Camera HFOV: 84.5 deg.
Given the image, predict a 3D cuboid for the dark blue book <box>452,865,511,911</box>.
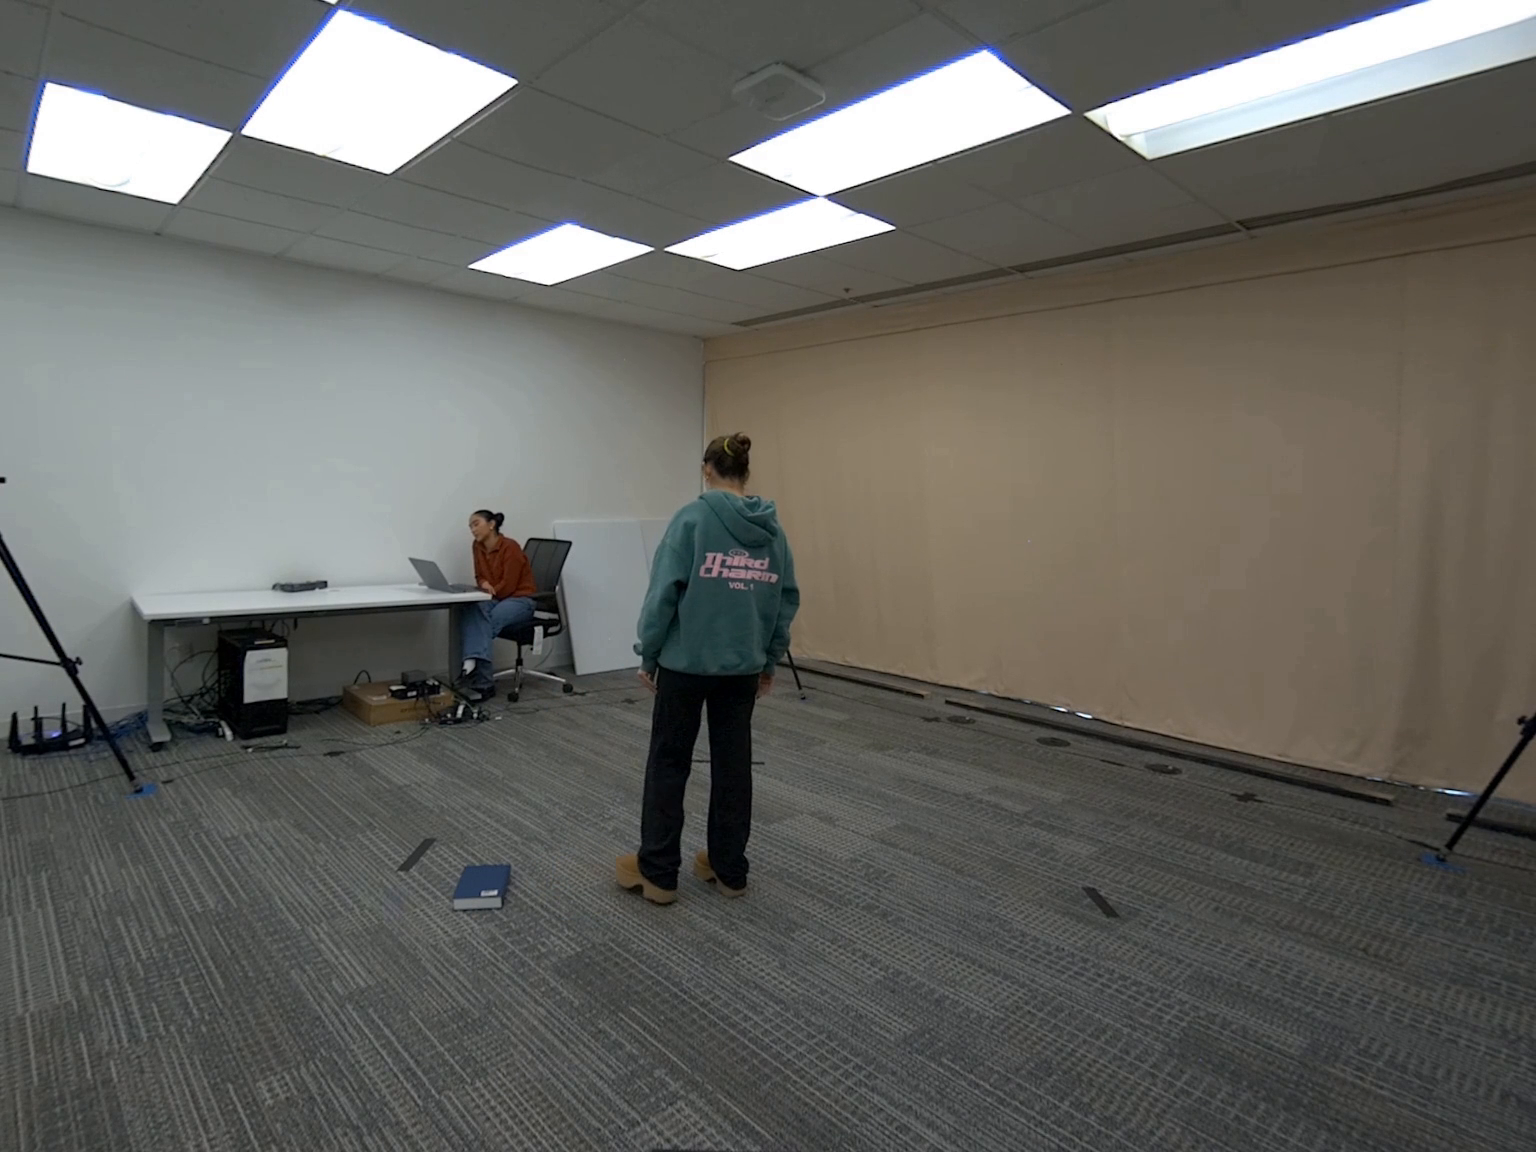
[{"bbox_3d":[-0.992,1.076,2.915,0.162,0.045,0.248,1,5,-10],"label":"dark blue book"}]
